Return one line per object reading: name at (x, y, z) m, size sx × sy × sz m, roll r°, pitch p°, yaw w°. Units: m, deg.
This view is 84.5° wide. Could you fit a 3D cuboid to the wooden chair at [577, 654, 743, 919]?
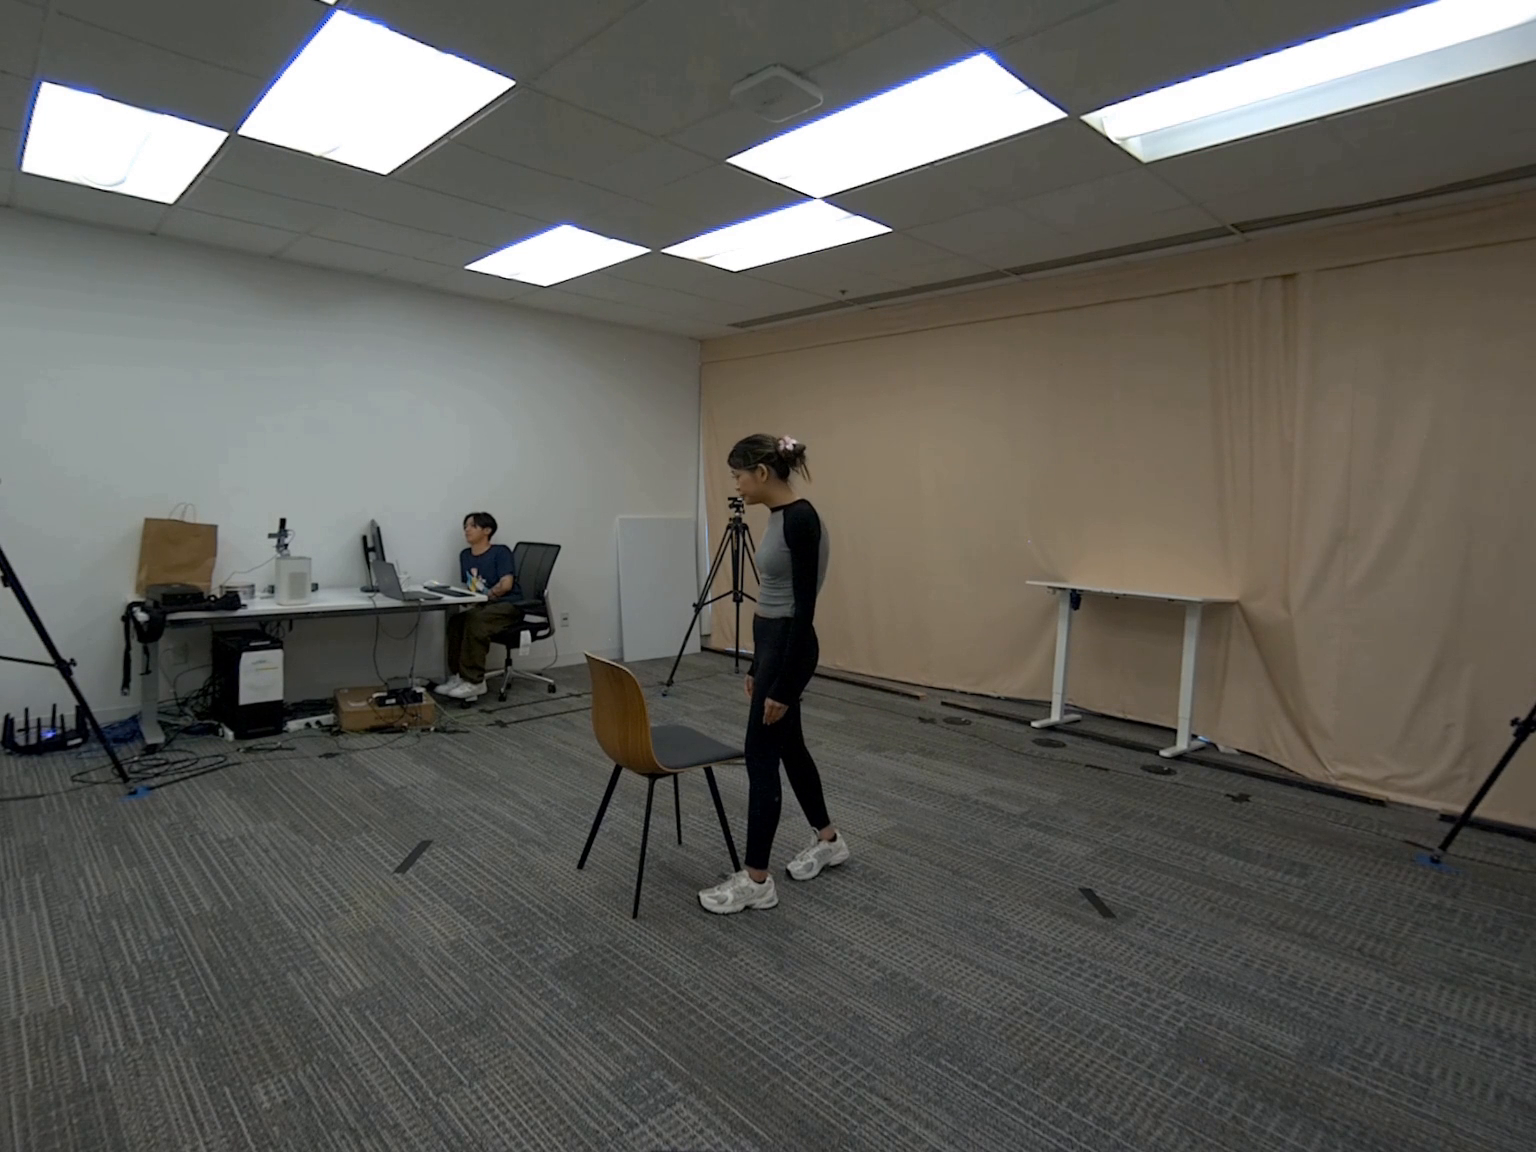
wooden chair at (-0.383, 0.677, 3.058) m, size 0.512 × 0.874 × 0.490 m, roll -6°, pitch 7°, yaw -36°
